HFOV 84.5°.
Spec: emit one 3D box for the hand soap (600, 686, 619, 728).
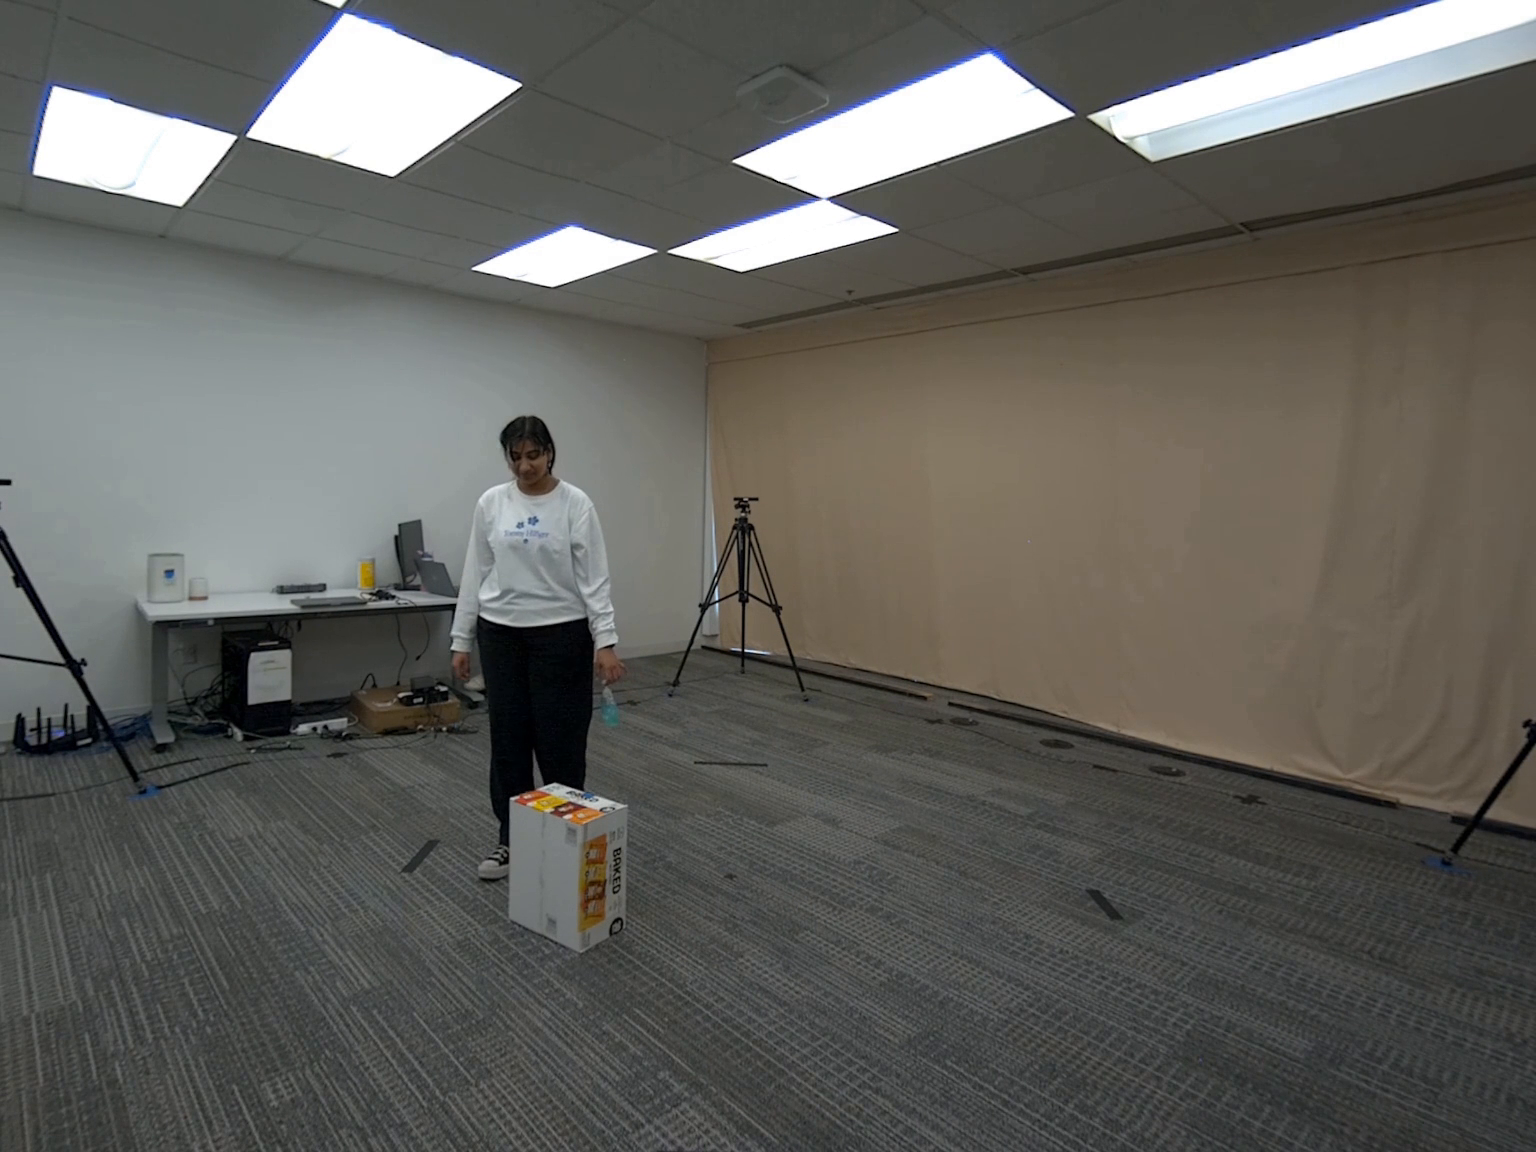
[{"bbox_3d":[-0.591,0.463,3.091,0.086,0.168,0.042,-3,2,36],"label":"hand soap"}]
